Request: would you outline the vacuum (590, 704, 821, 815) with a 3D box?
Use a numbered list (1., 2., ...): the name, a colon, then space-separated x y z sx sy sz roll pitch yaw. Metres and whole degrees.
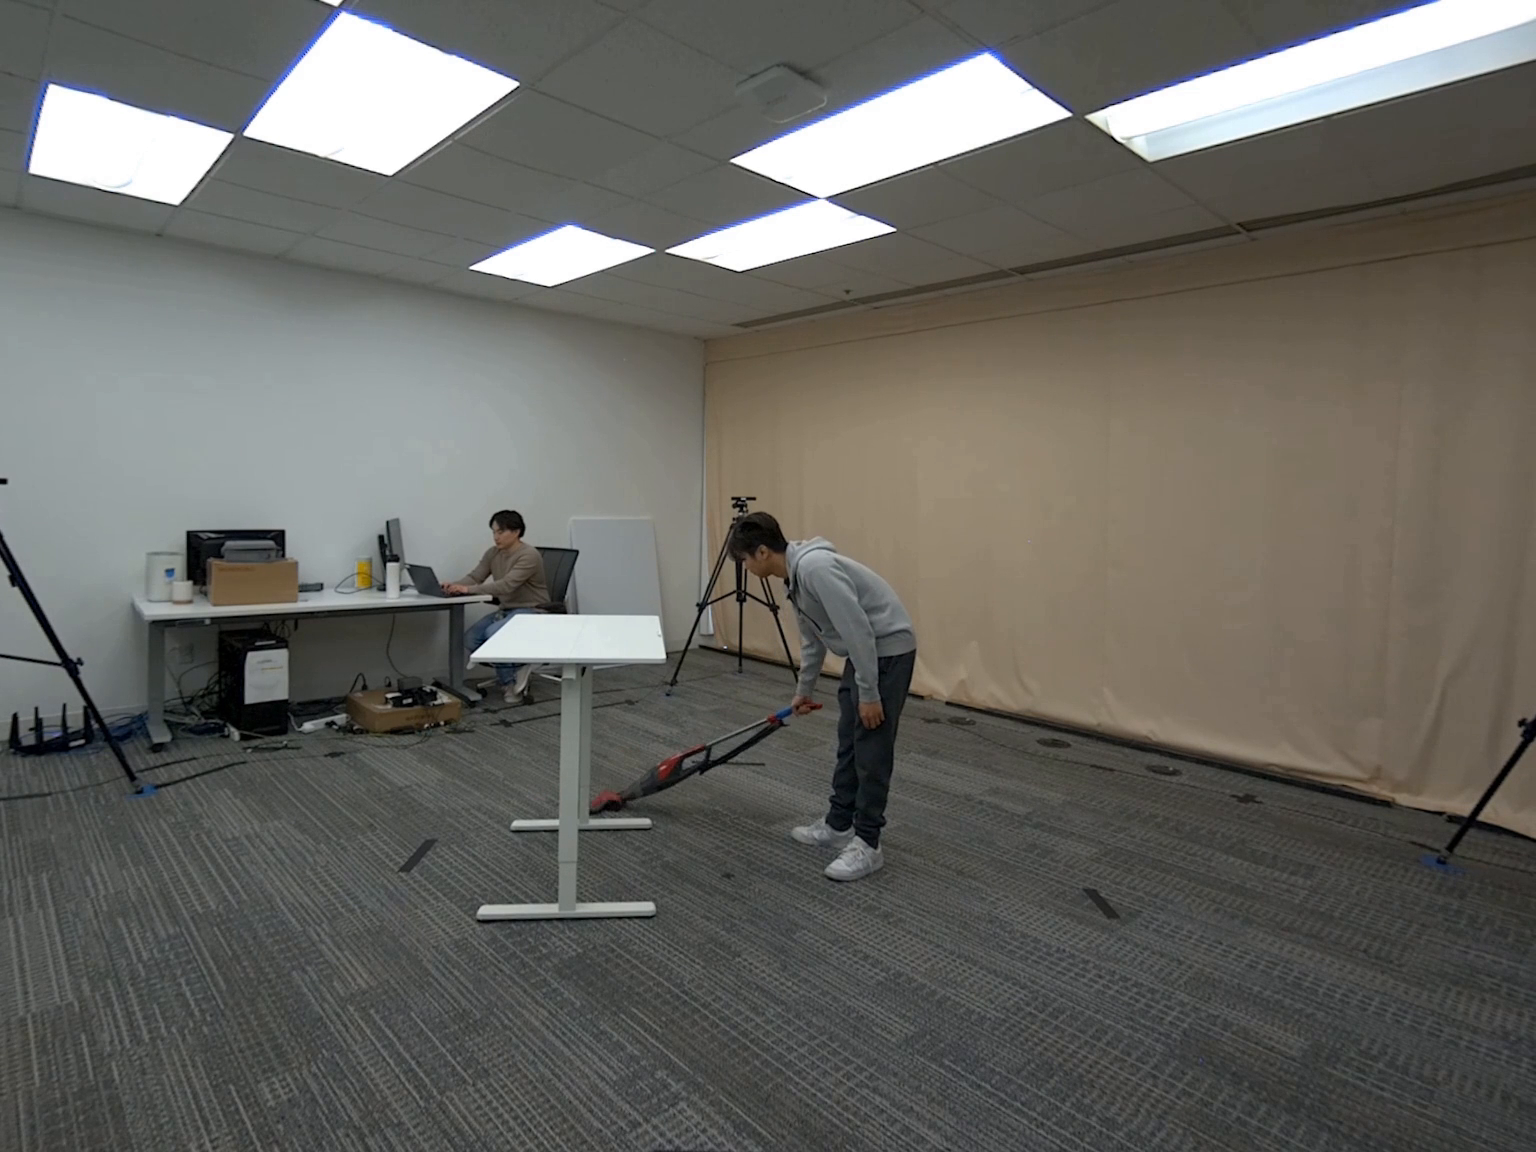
1. vacuum: -0.259 0.784 3.677 1.054 0.144 0.251 -25 -1 12
